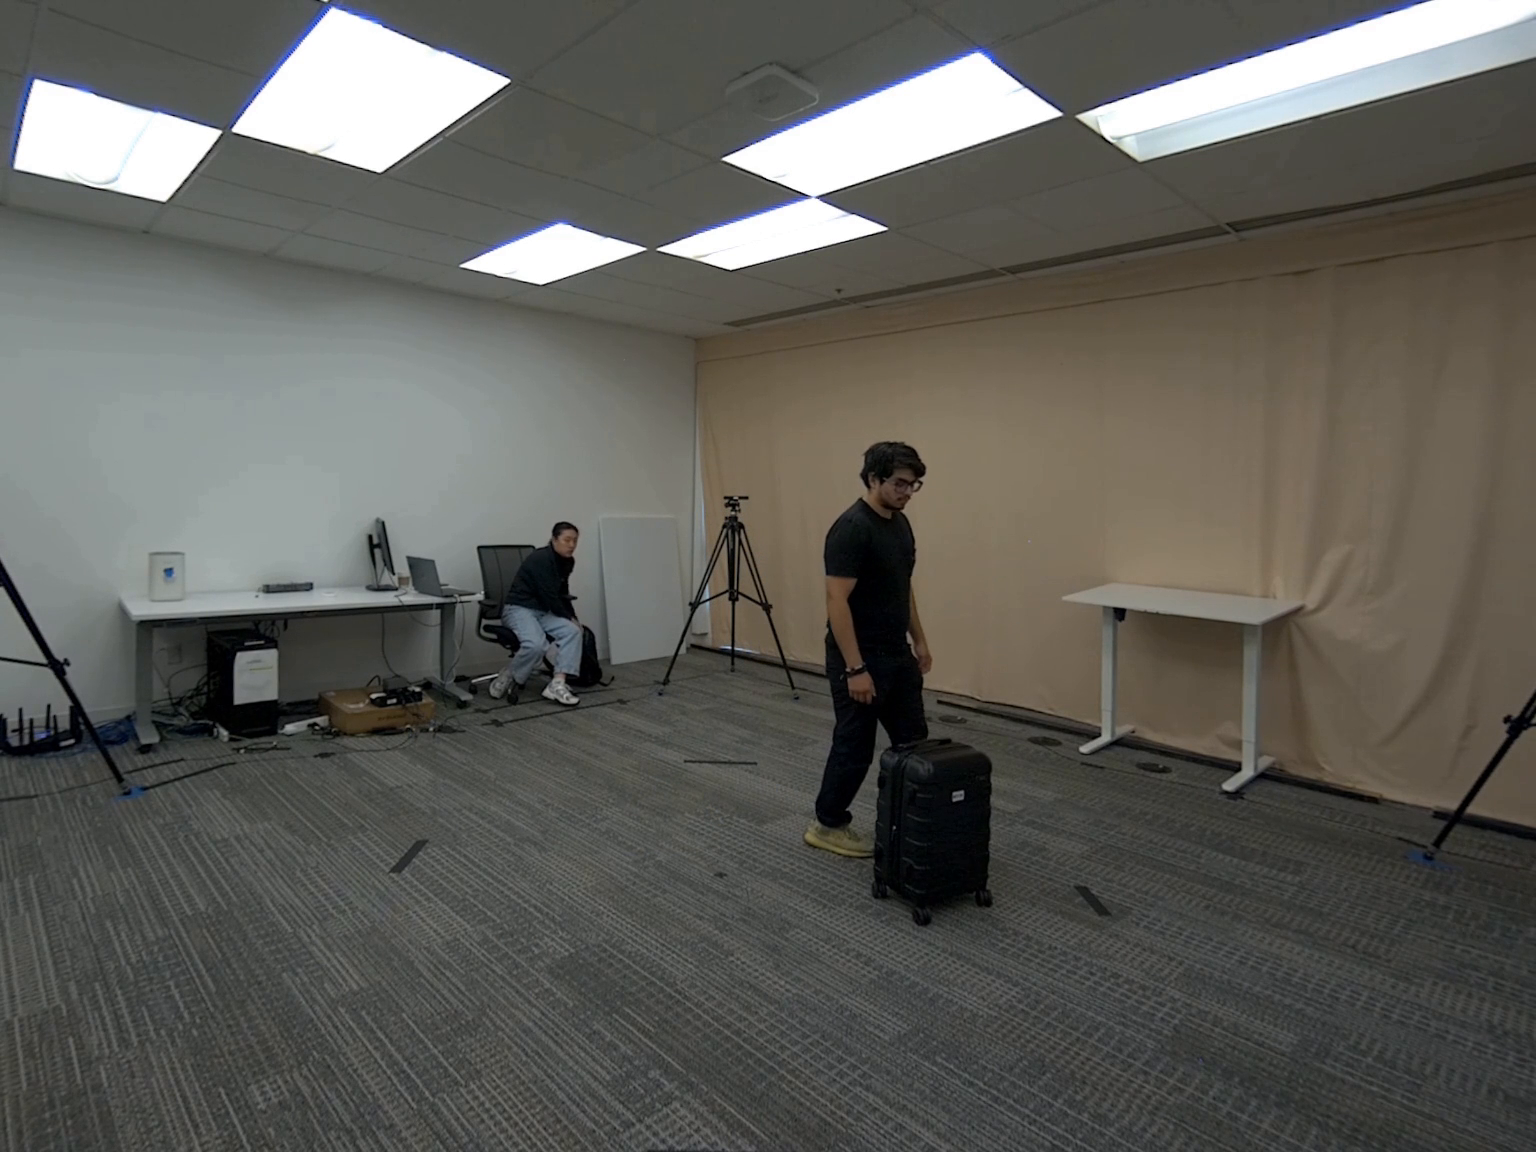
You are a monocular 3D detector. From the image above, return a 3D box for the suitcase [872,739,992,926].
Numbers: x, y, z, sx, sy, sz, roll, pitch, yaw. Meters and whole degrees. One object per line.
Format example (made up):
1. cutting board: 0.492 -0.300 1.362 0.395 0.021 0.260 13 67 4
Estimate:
1. suitcase: 0.582 0.864 2.941 0.367 0.548 0.254 1 3 -31
